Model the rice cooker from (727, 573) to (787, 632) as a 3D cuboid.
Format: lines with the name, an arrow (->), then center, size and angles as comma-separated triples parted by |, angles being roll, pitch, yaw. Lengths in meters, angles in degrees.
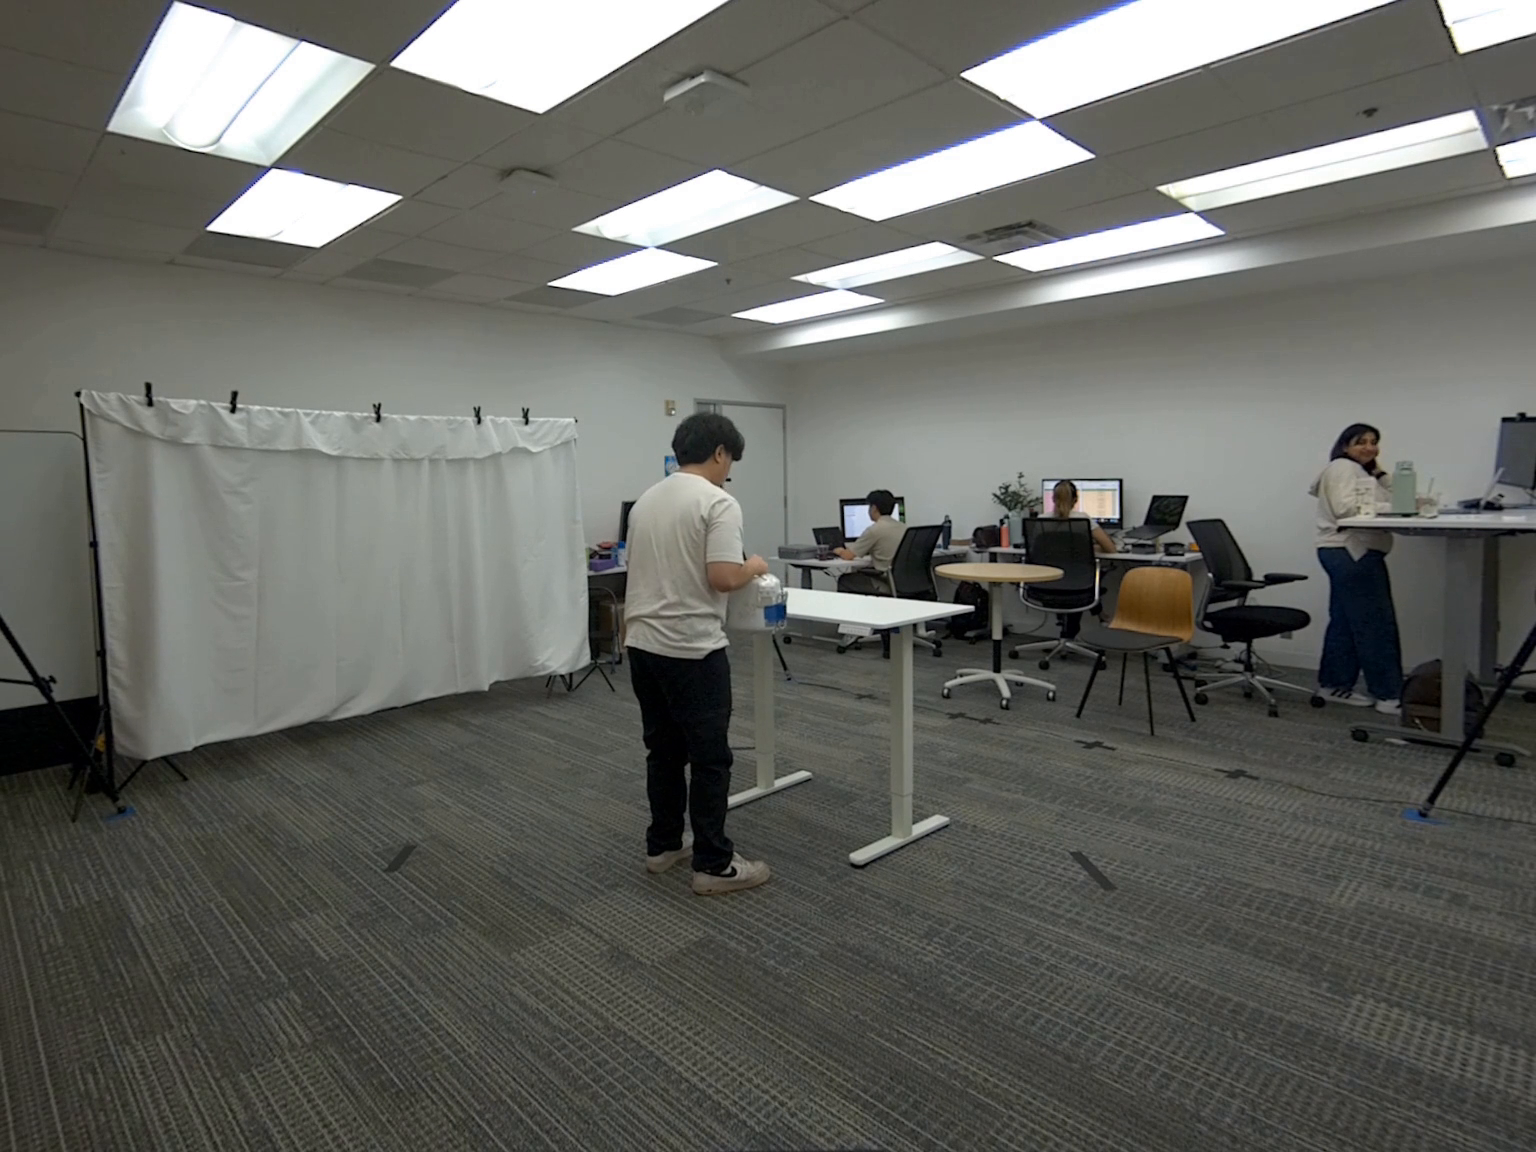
rice cooker -> -0.062, 0.085, 3.074 | 0.212, 0.232, 0.227 | 2, 4, -31
